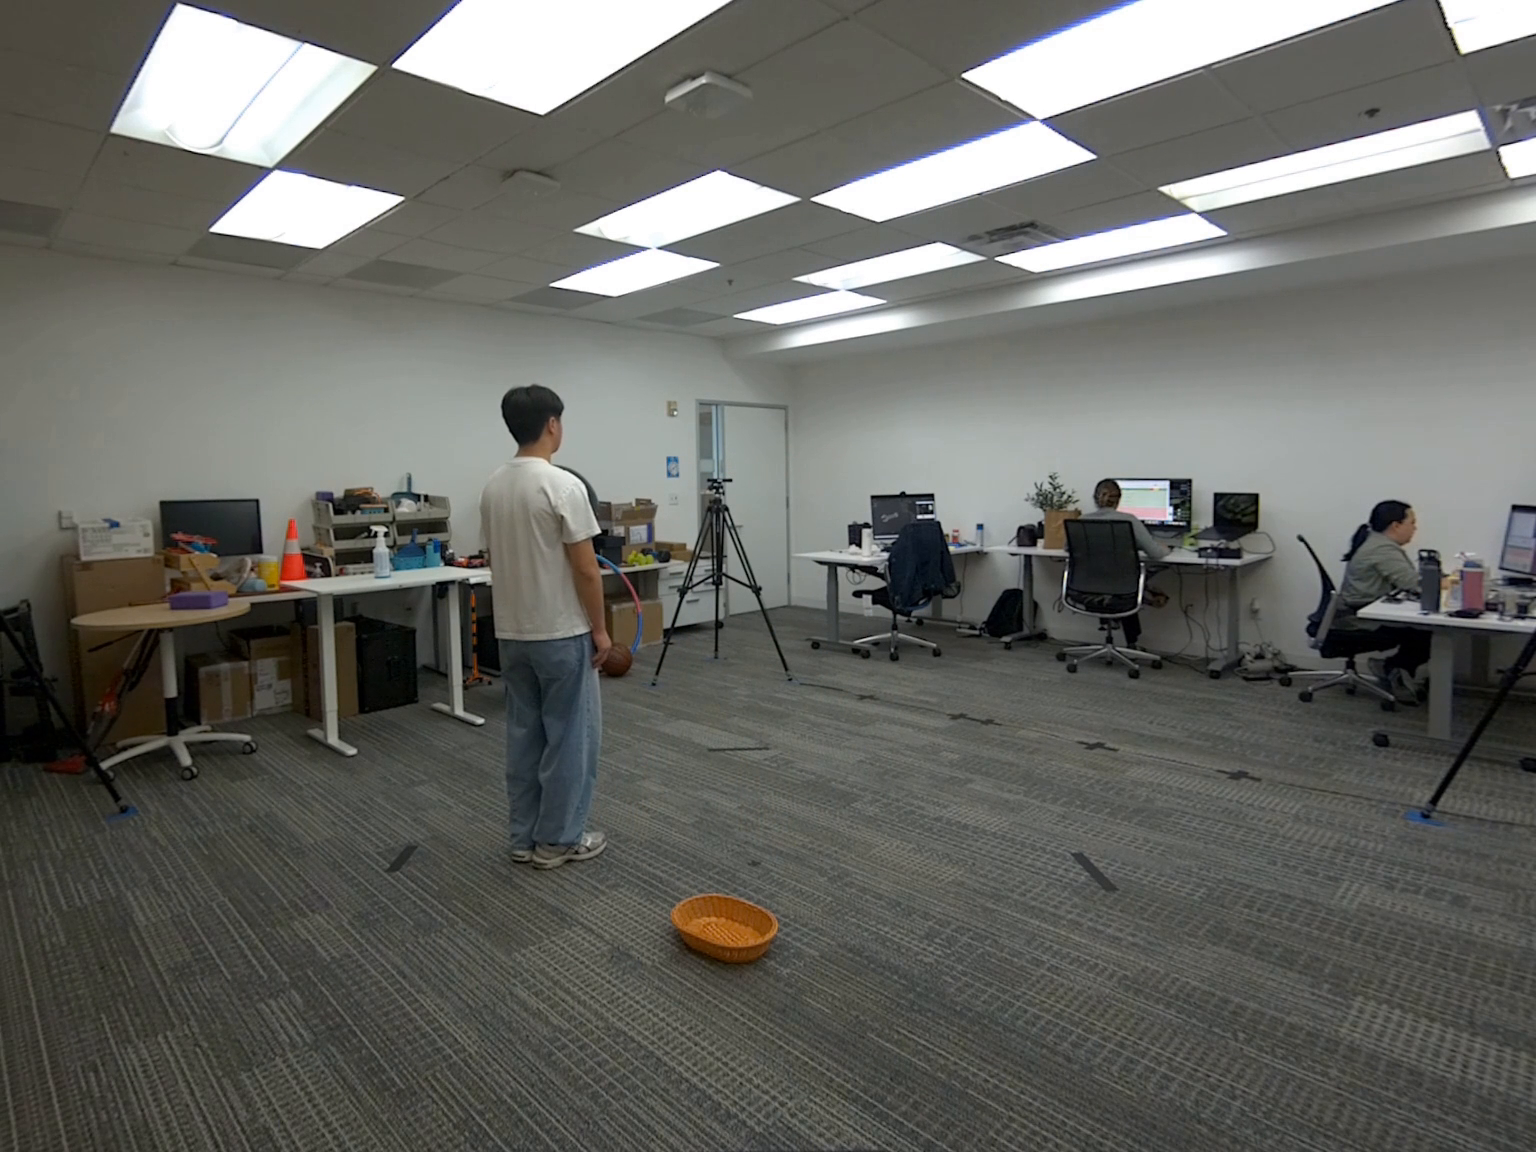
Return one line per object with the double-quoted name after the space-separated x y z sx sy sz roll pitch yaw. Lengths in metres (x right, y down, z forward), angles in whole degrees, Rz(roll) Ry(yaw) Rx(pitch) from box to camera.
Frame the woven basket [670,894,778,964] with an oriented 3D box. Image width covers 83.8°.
-0.125 1.069 2.591 0.361 0.073 0.246 4 8 39 "woven basket"
